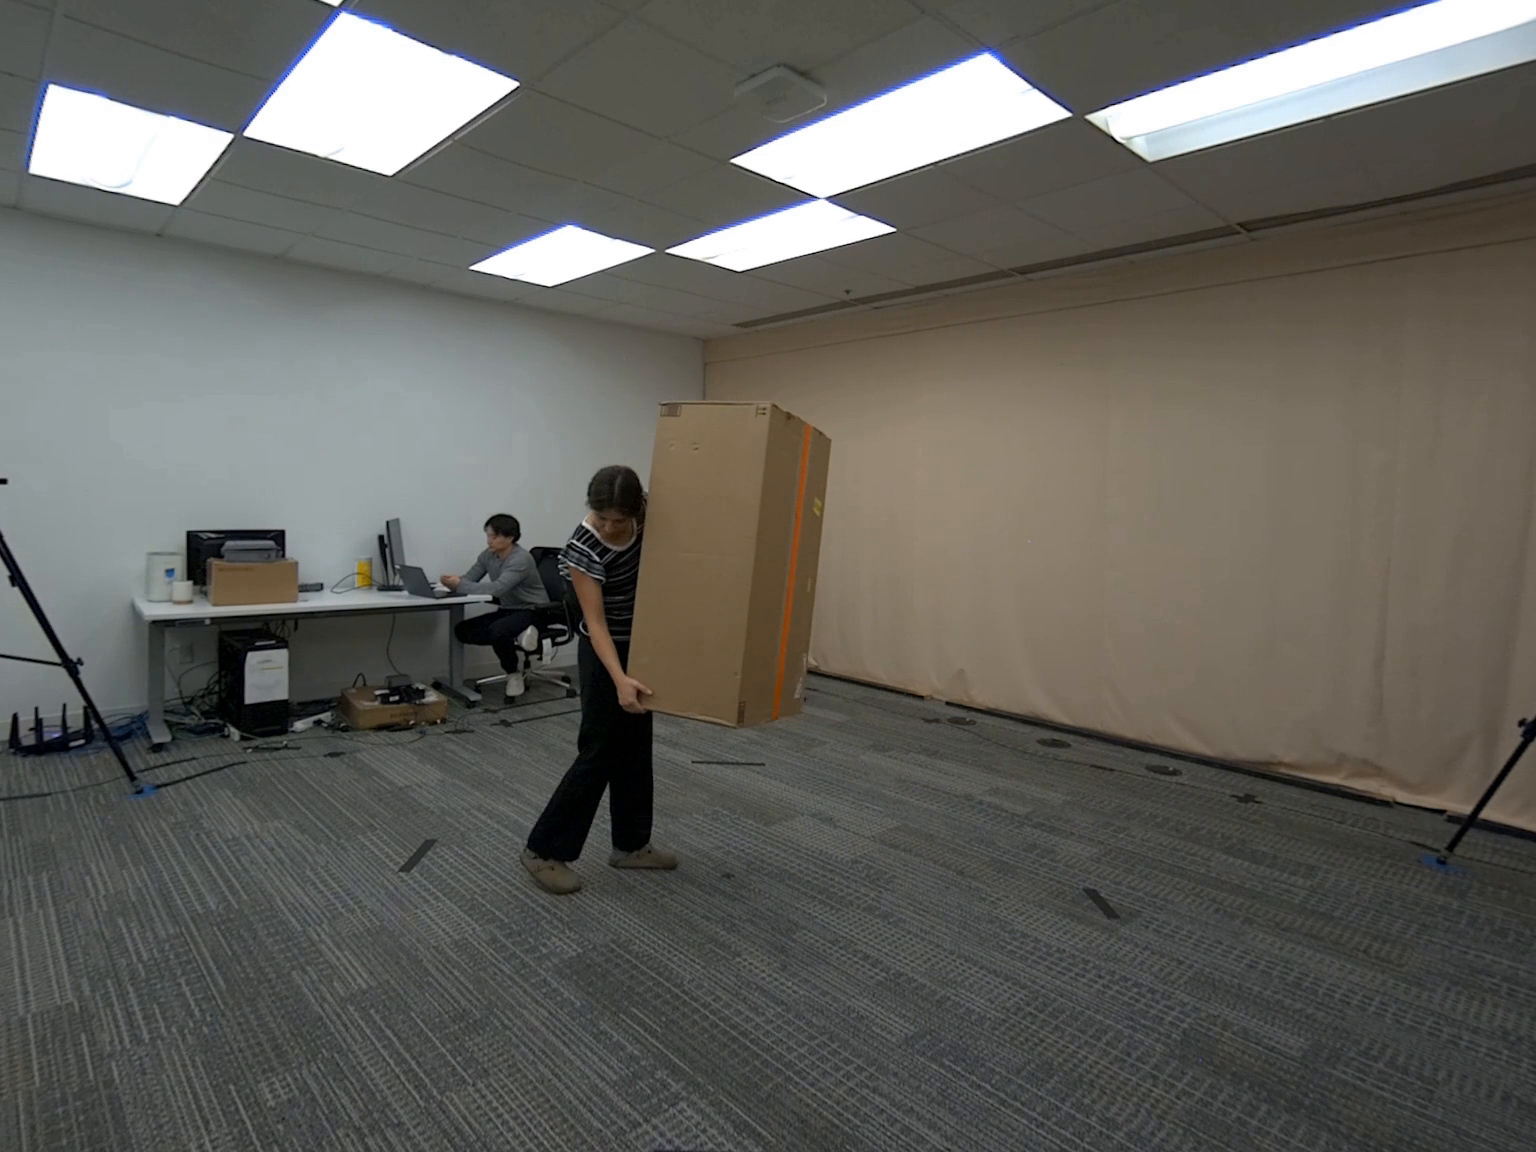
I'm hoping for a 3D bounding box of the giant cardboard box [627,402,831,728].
[{"bbox_3d":[-0.124,-0.034,2.940,0.435,1.028,0.565,5,-3,24],"label":"giant cardboard box"}]
